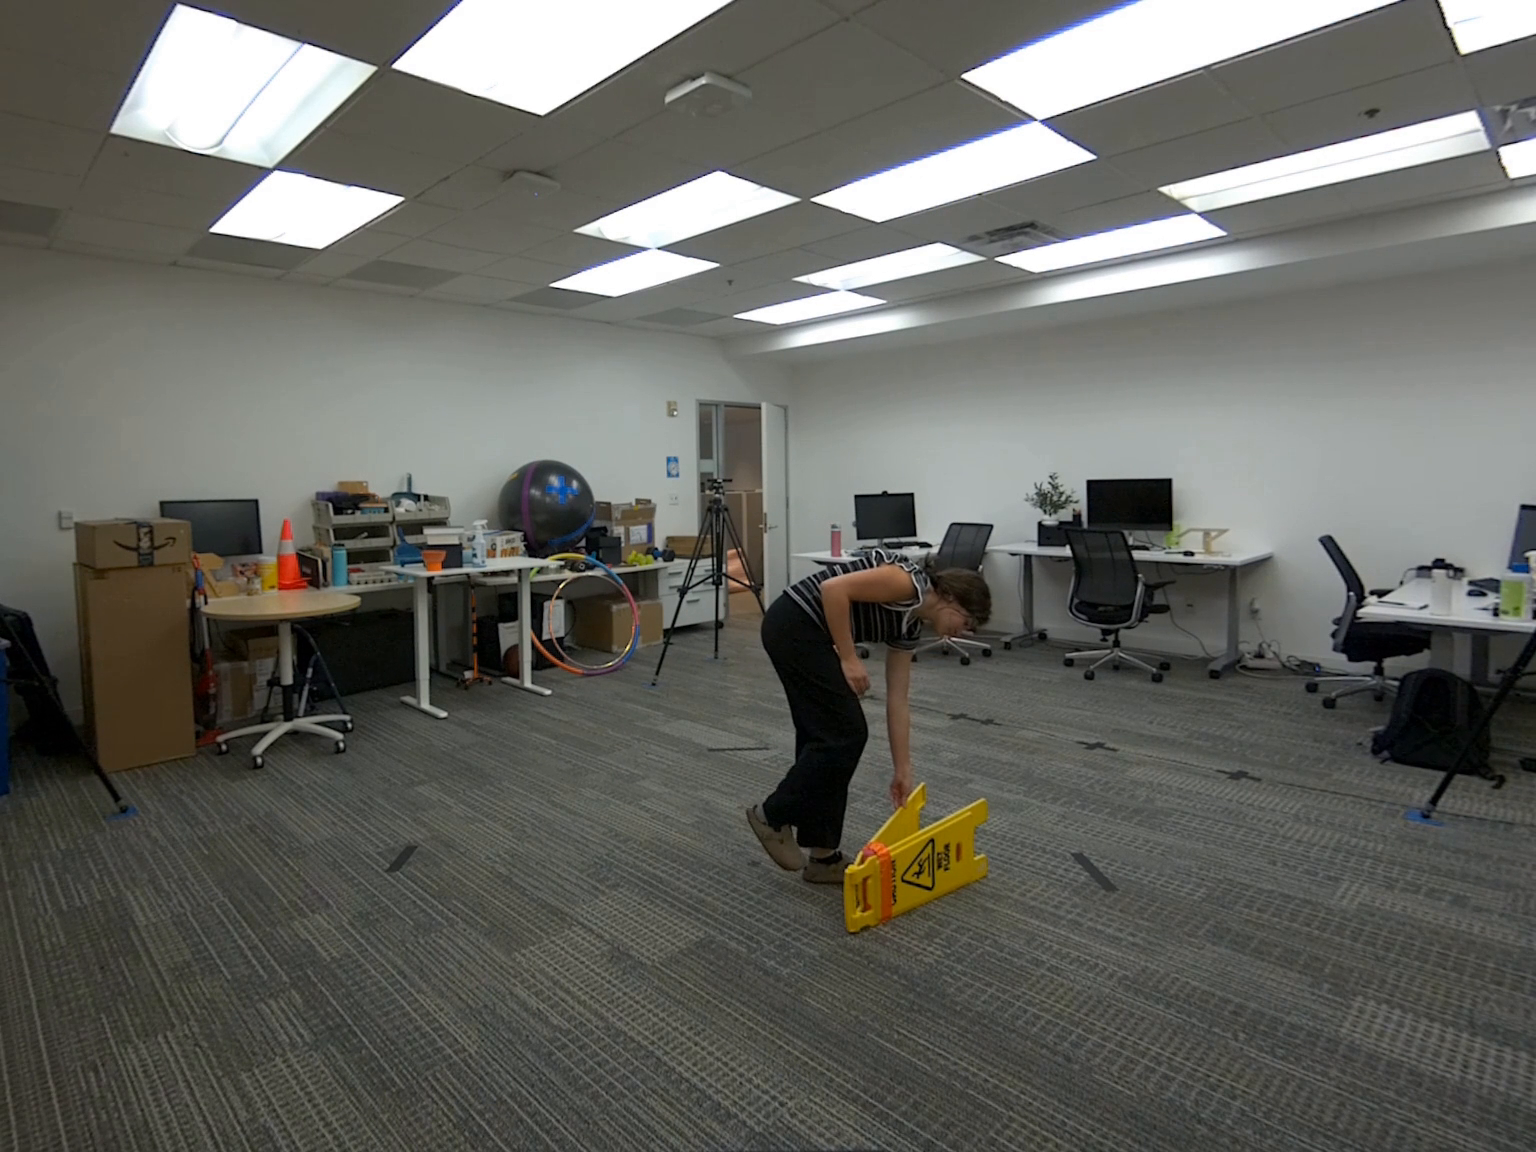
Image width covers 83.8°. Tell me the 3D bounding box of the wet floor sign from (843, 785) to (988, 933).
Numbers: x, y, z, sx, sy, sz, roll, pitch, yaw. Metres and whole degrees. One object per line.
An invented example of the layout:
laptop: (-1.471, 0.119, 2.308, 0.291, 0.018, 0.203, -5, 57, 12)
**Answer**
wet floor sign: (0.461, 0.945, 2.819, 0.299, 0.280, 0.631, 4, 11, 41)
